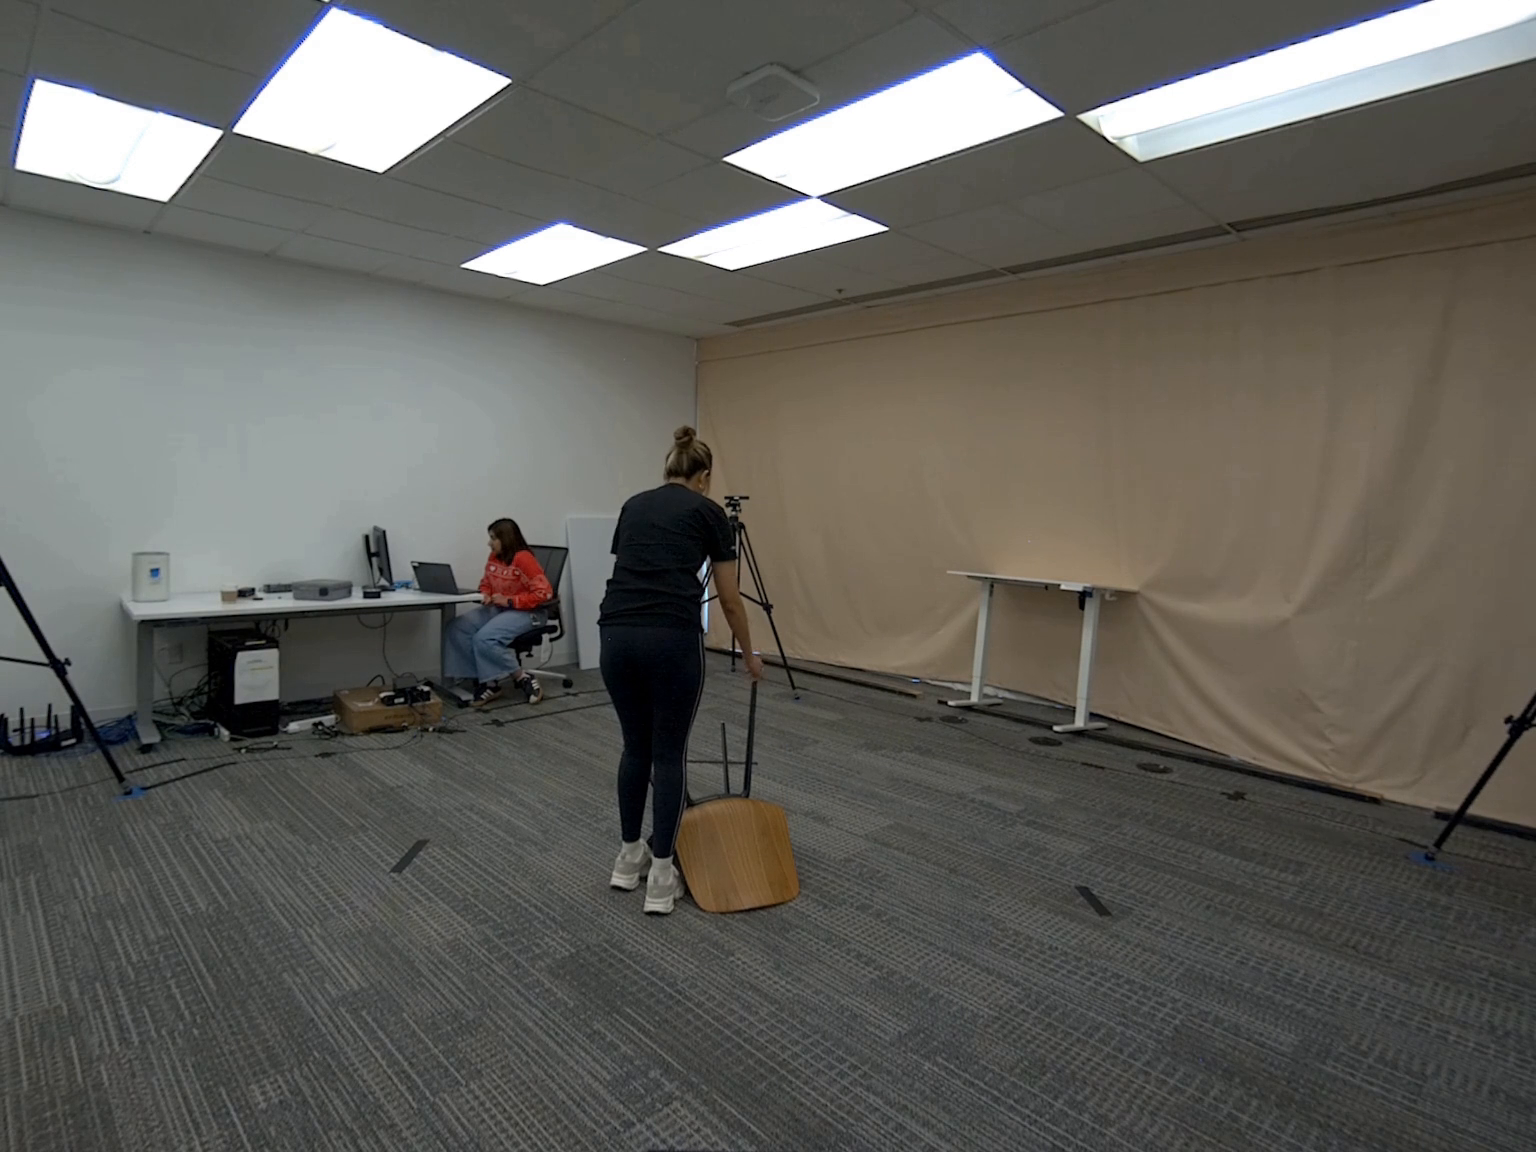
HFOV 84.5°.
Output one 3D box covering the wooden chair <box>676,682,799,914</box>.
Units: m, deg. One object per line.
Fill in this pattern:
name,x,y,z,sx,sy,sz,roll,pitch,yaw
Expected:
wooden chair,-0.226,0.916,3.276,0.470,0.900,0.518,-1,-36,-24
